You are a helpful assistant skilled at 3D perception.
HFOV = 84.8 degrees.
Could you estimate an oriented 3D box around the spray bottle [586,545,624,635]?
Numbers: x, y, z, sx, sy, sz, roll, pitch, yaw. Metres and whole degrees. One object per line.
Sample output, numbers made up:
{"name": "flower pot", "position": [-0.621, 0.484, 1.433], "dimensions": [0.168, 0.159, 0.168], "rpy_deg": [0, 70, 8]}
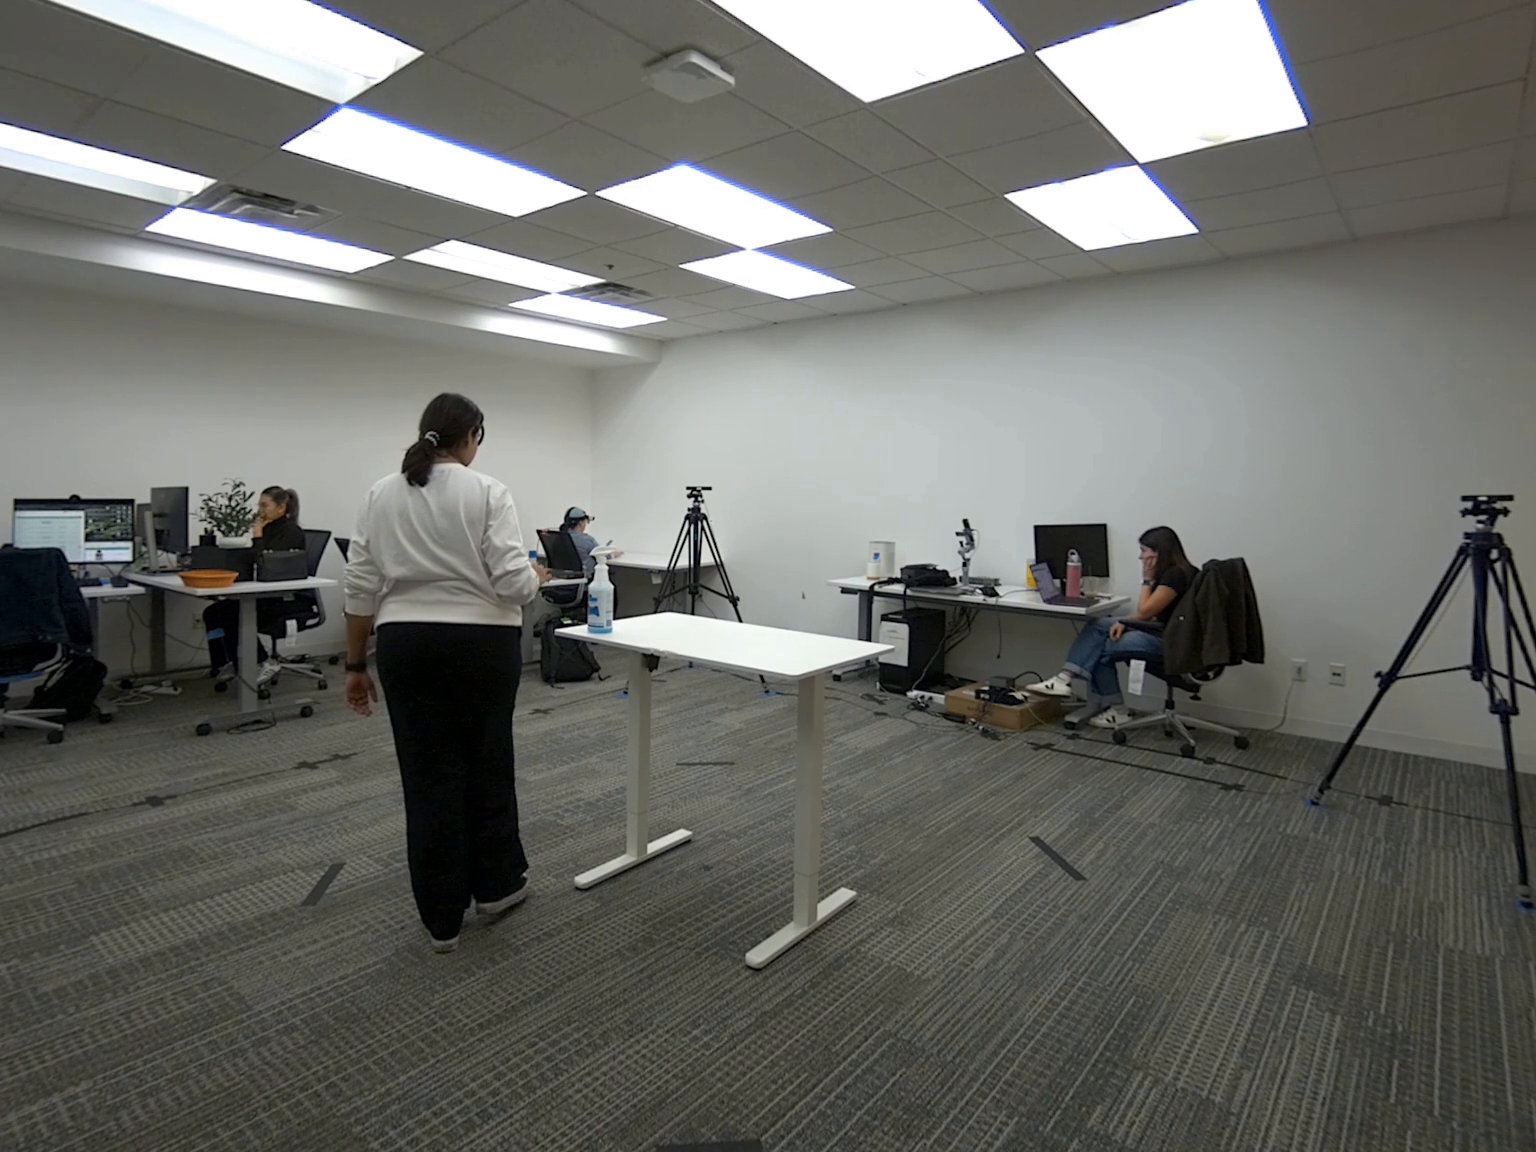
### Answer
{"name": "spray bottle", "position": [-0.569, 0.045, 2.929], "dimensions": [0.091, 0.297, 0.086], "rpy_deg": [3, 2, 9]}
